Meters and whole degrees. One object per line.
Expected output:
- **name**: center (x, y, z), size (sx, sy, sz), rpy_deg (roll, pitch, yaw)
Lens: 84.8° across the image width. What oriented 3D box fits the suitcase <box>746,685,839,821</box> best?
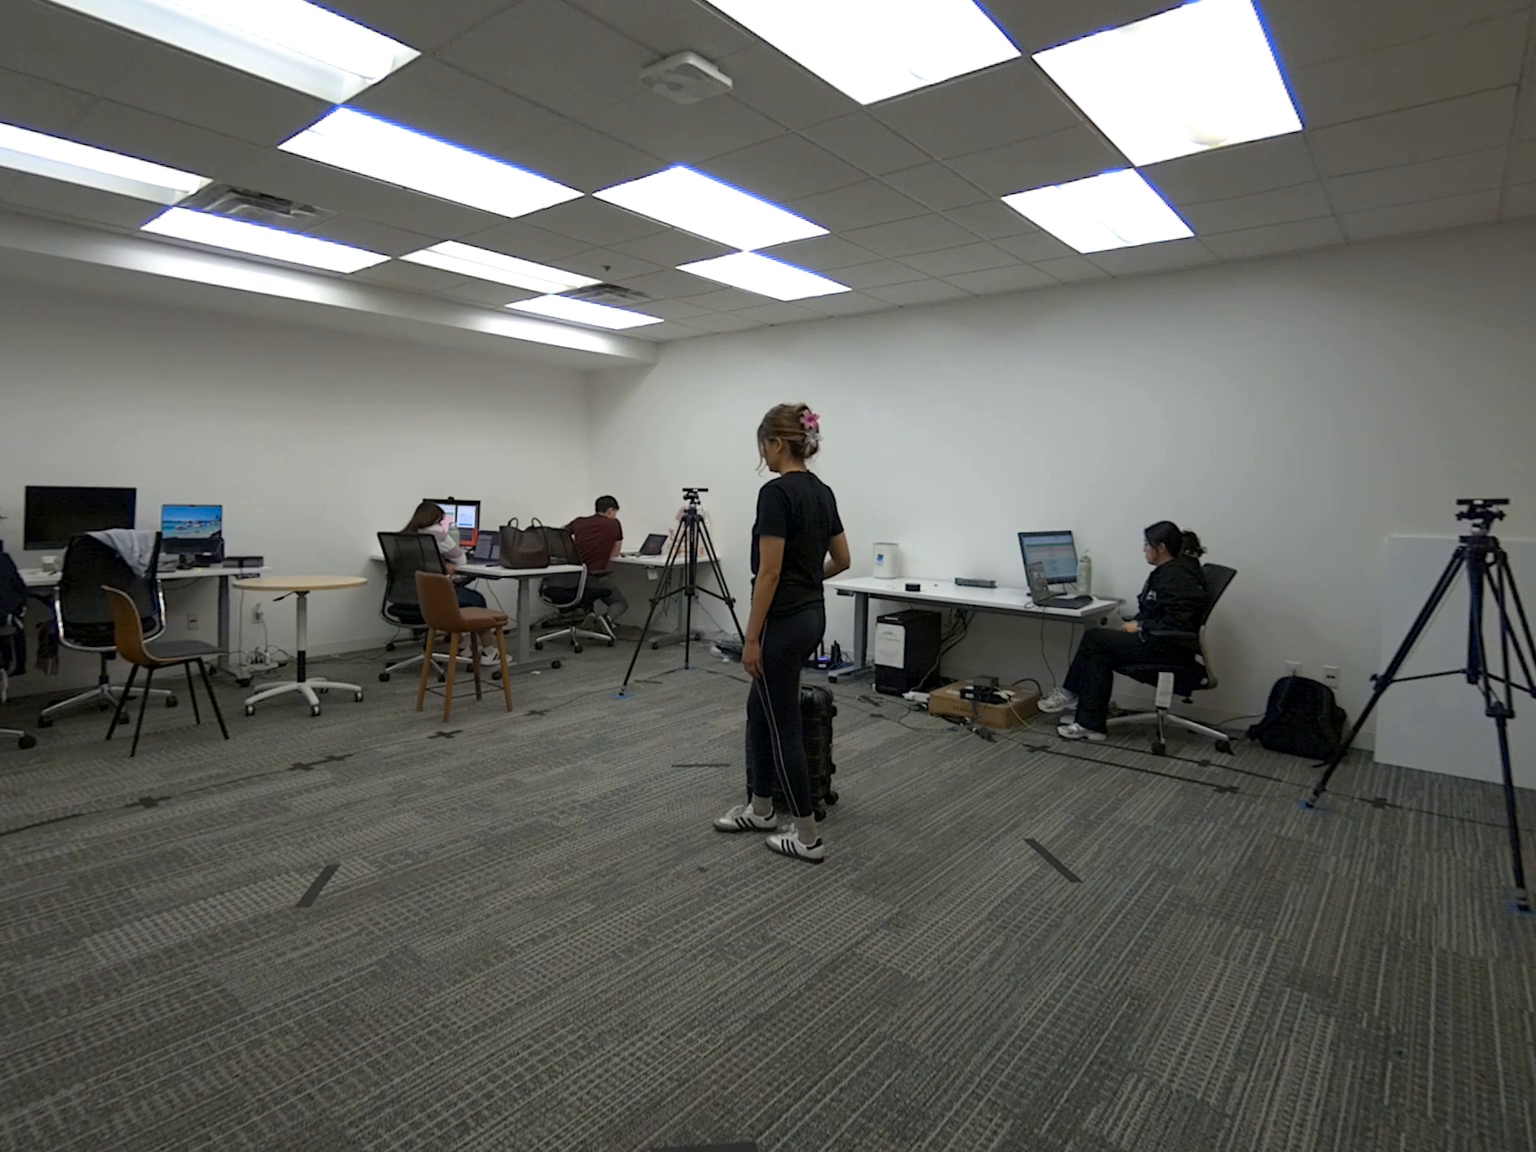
- **suitcase**: center (0.089, 0.534, 3.764), size (0.393, 0.978, 0.251), rpy_deg (1, 1, 22)
